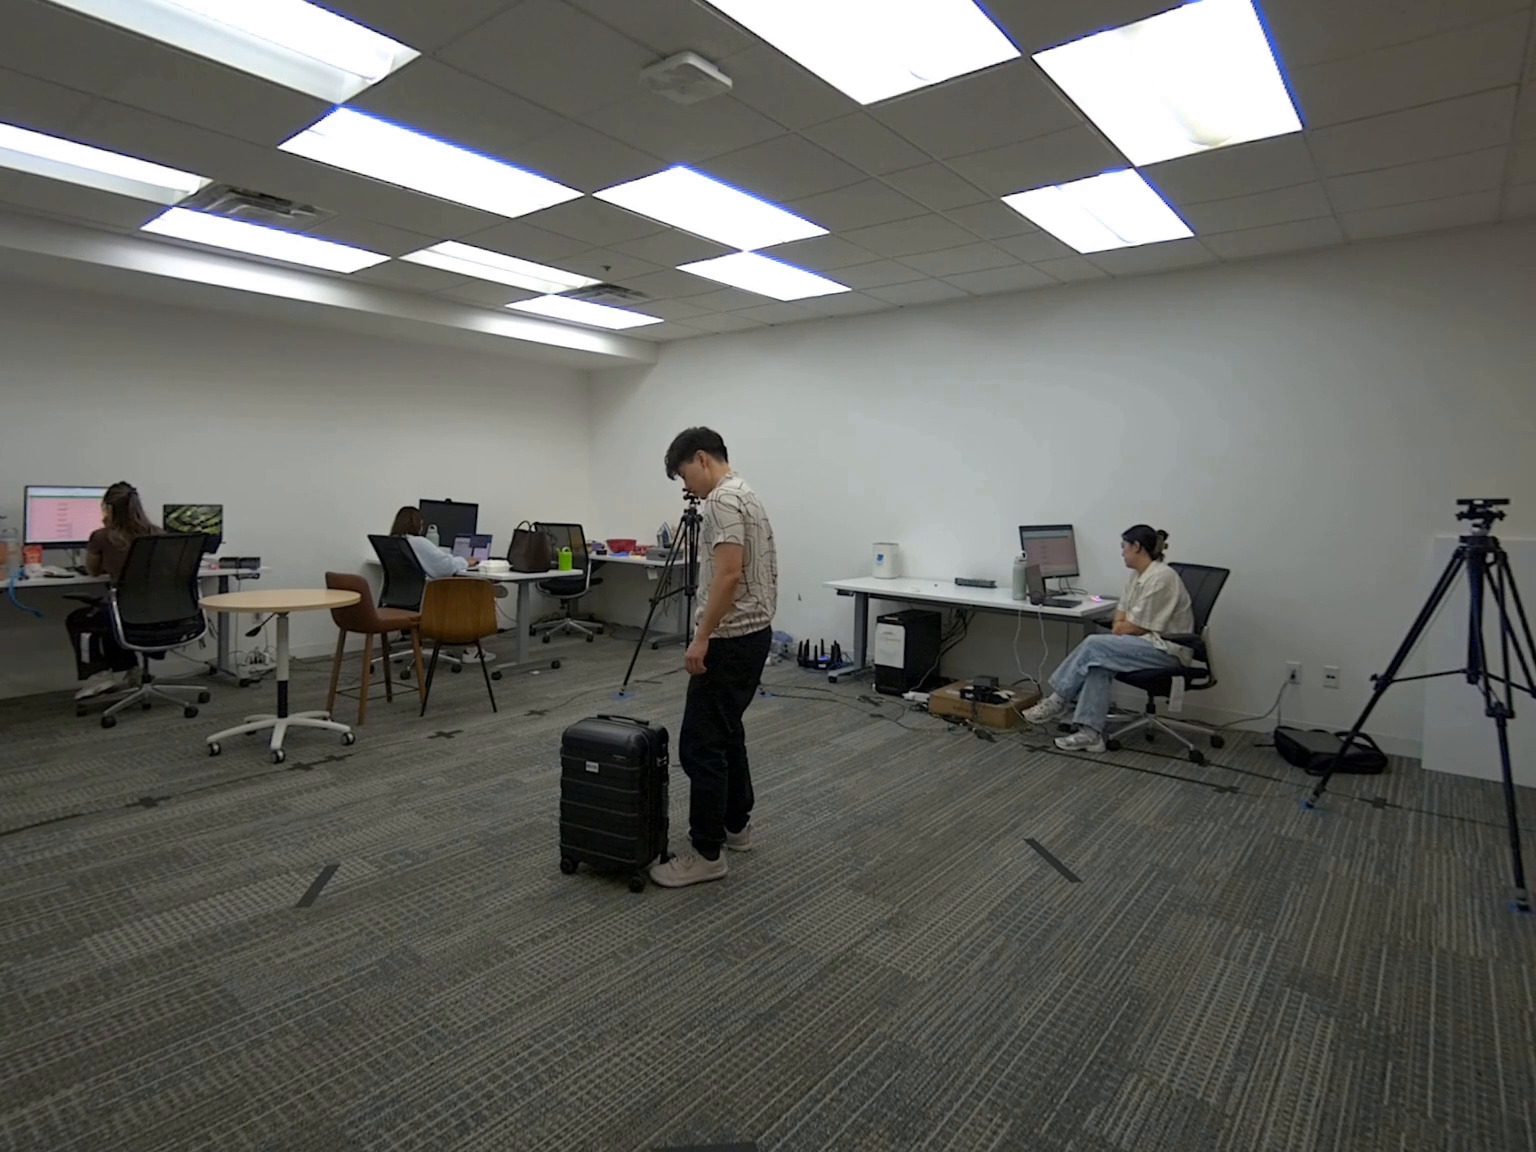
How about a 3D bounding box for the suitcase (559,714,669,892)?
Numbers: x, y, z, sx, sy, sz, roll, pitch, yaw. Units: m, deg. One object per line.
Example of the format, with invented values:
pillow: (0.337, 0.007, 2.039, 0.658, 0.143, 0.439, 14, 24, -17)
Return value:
suitcase: (-0.567, 0.793, 3.073, 0.384, 0.548, 0.243, 1, 3, 24)
